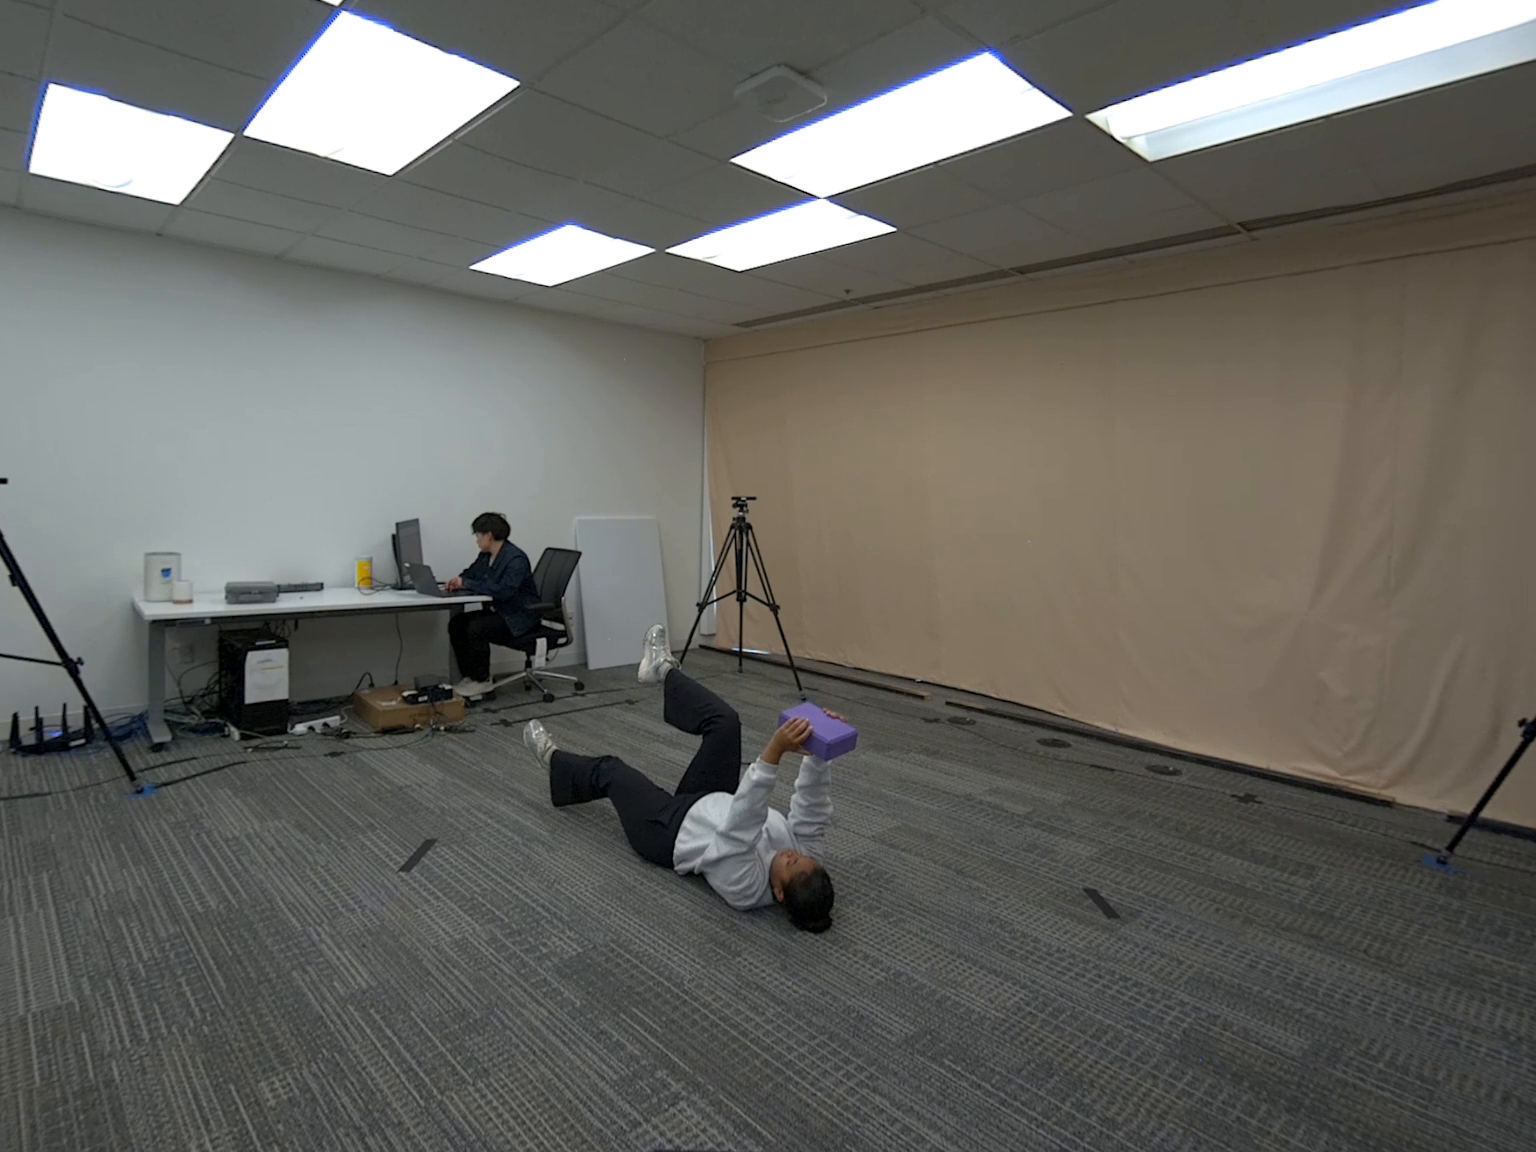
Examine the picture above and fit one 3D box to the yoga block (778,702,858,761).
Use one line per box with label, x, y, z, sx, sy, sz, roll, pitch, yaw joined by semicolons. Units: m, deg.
yoga block;0.159;0.509;2.745;0.146;0.075;0.236;-12;25;-44
